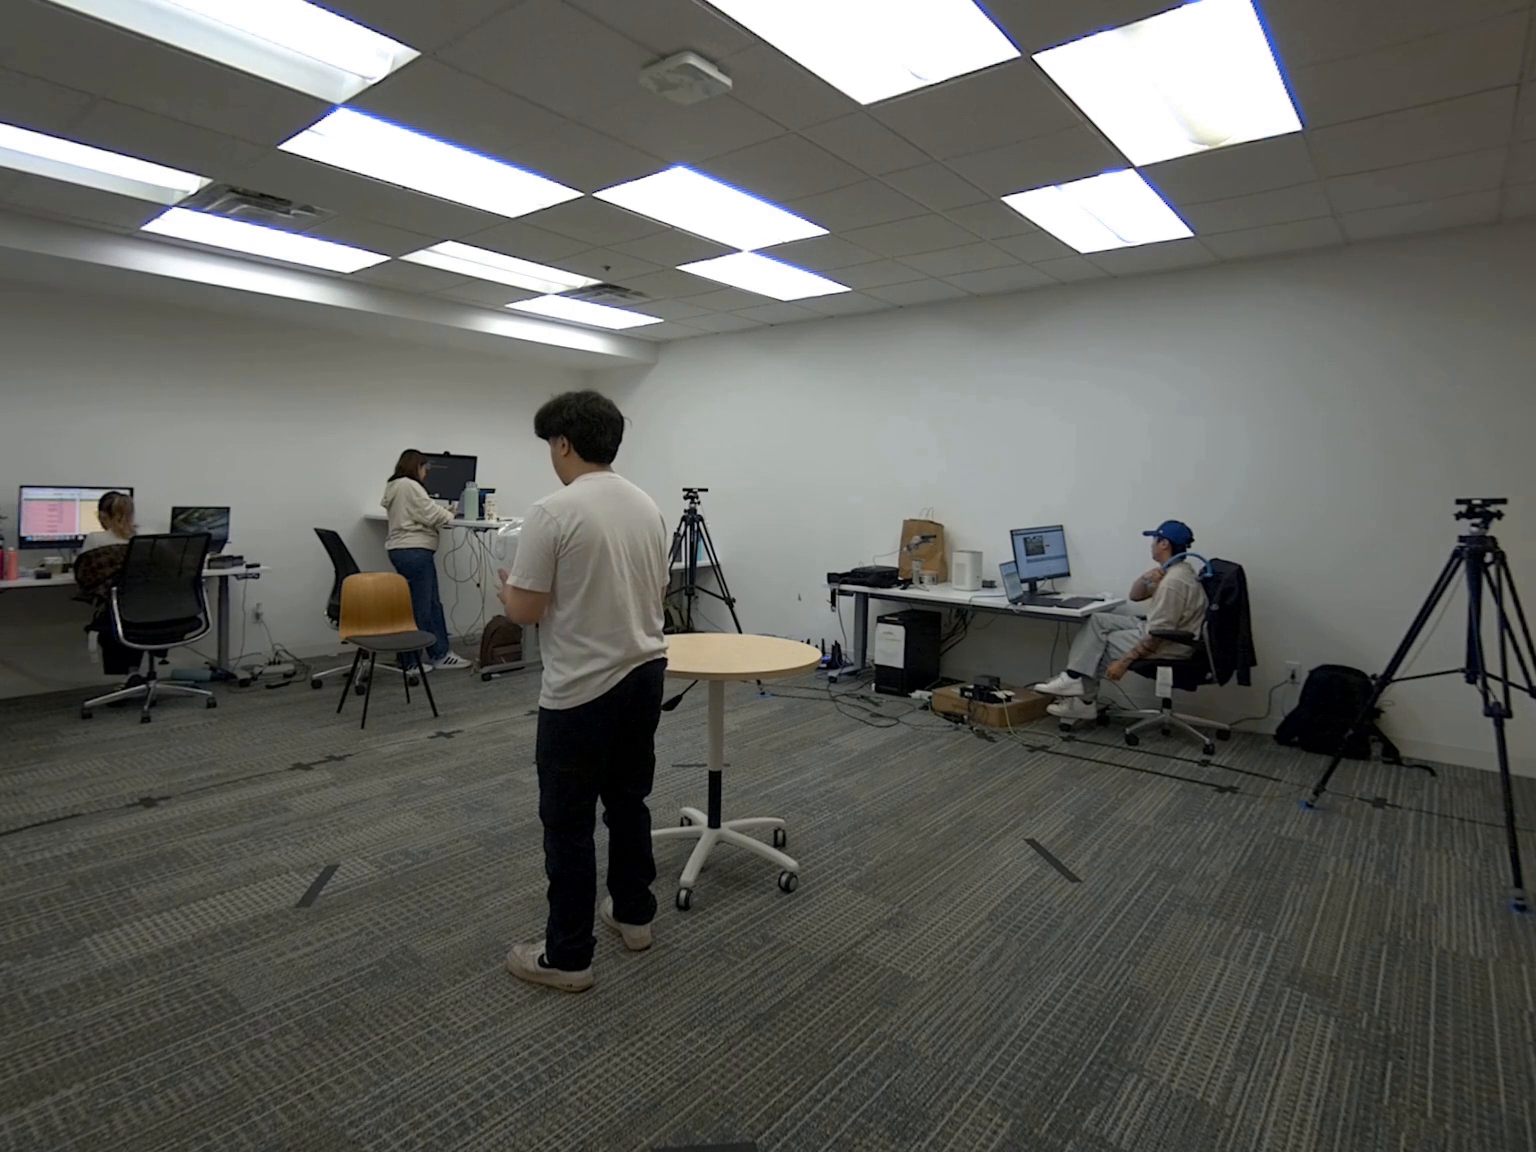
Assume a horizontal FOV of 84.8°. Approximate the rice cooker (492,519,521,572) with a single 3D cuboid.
[{"bbox_3d":[-0.750,-0.065,2.673,0.225,0.231,0.214,13,11,41],"label":"rice cooker"}]
